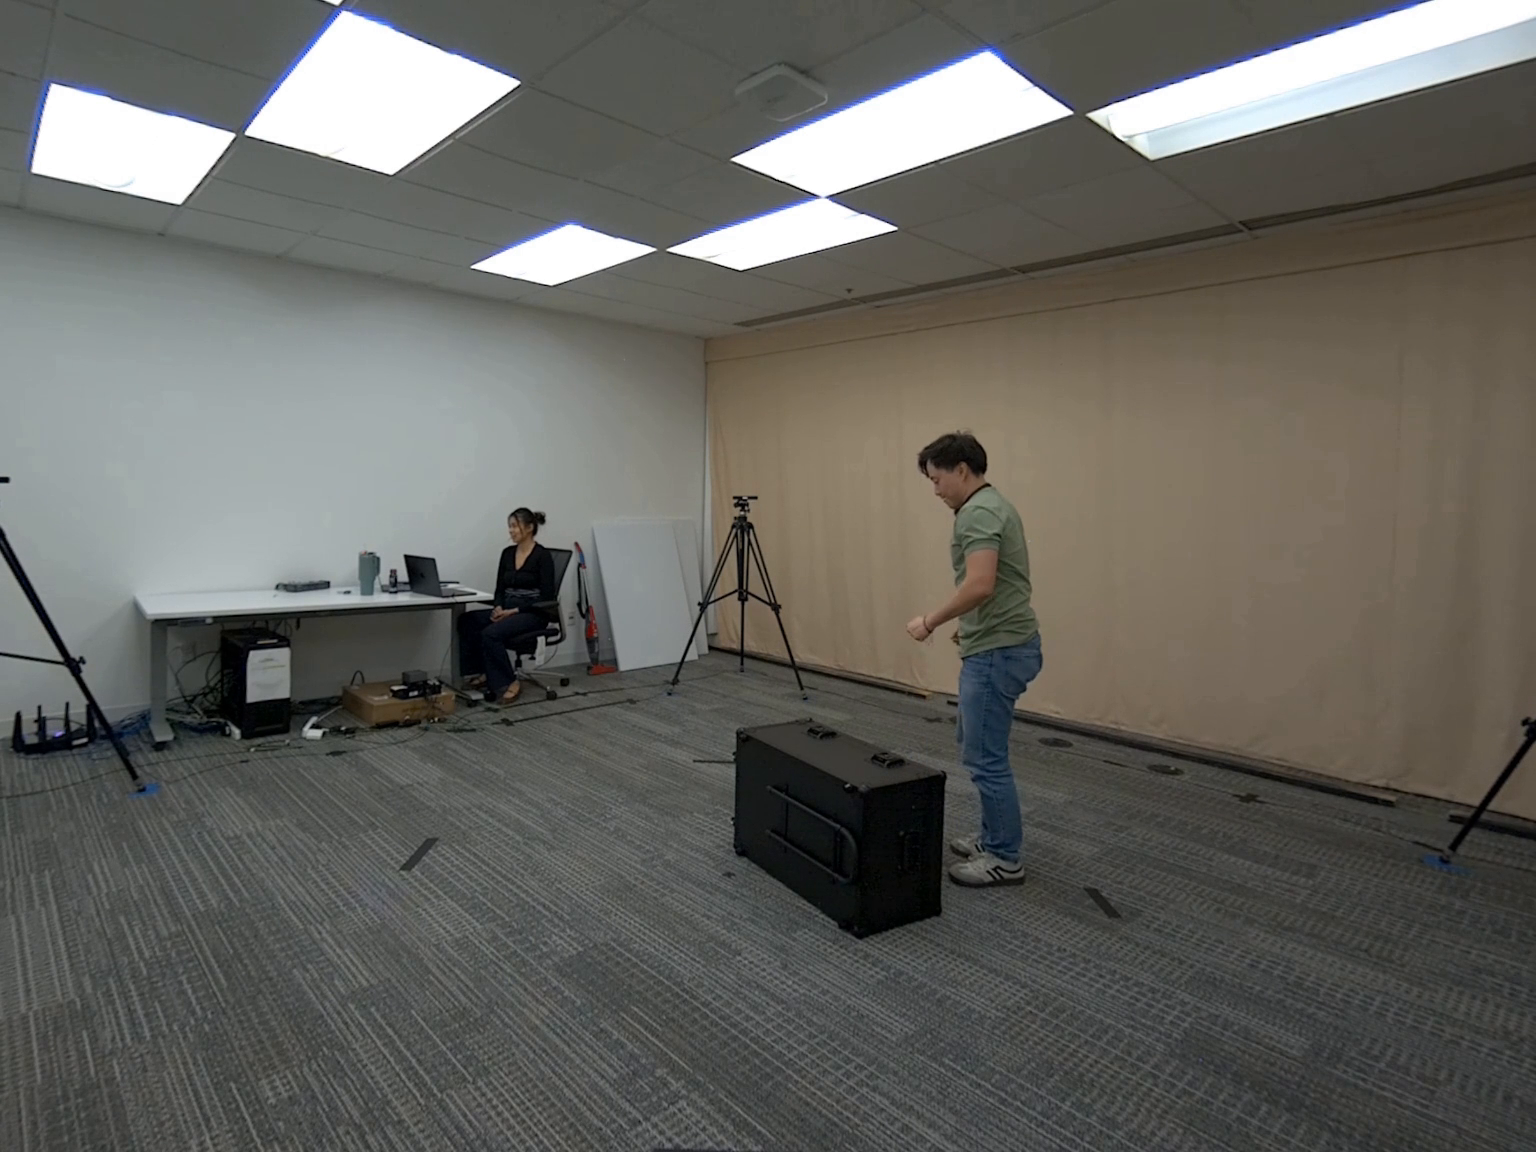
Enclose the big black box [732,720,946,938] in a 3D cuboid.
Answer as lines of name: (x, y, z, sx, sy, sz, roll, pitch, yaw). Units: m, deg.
big black box: (0.197, 0.870, 3.092, 0.388, 0.520, 0.881, -1, 5, -31)
